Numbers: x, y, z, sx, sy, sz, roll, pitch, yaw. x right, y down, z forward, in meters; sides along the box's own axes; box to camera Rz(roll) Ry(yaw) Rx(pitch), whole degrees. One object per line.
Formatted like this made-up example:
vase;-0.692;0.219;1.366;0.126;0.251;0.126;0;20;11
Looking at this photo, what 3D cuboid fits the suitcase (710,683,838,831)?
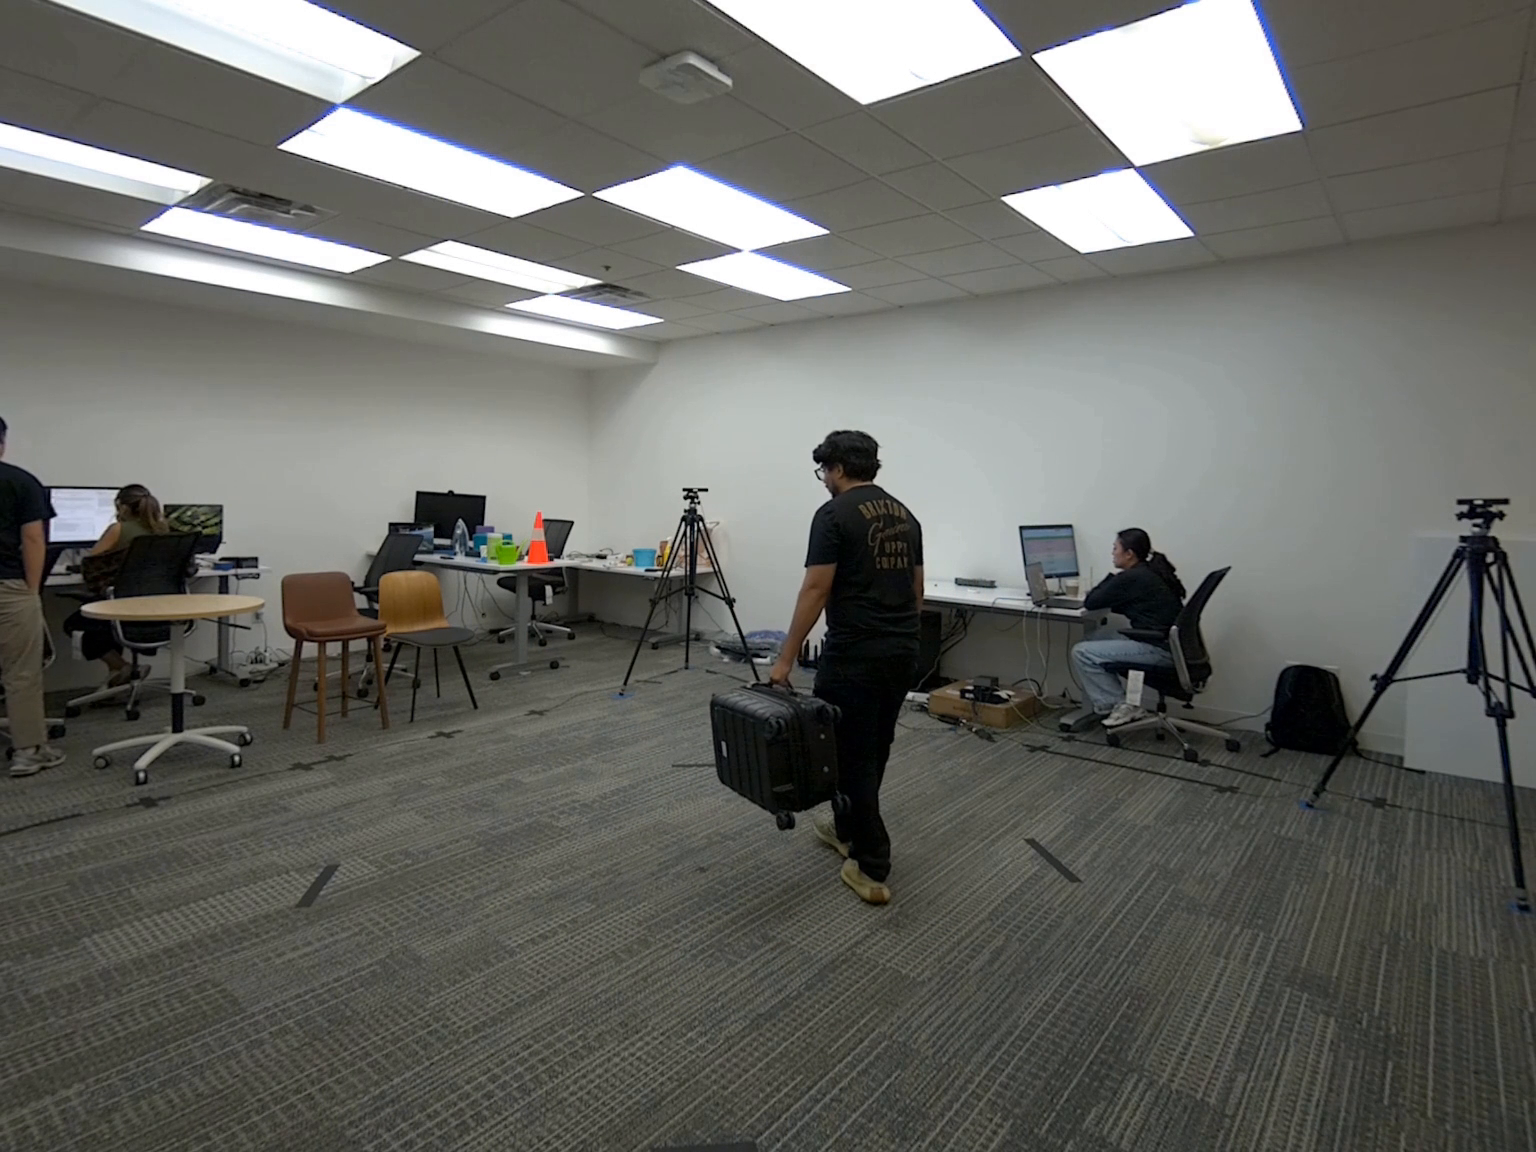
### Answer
suitcase;-0.094;0.582;3.116;0.251;0.383;1.002;-7;3;-27
